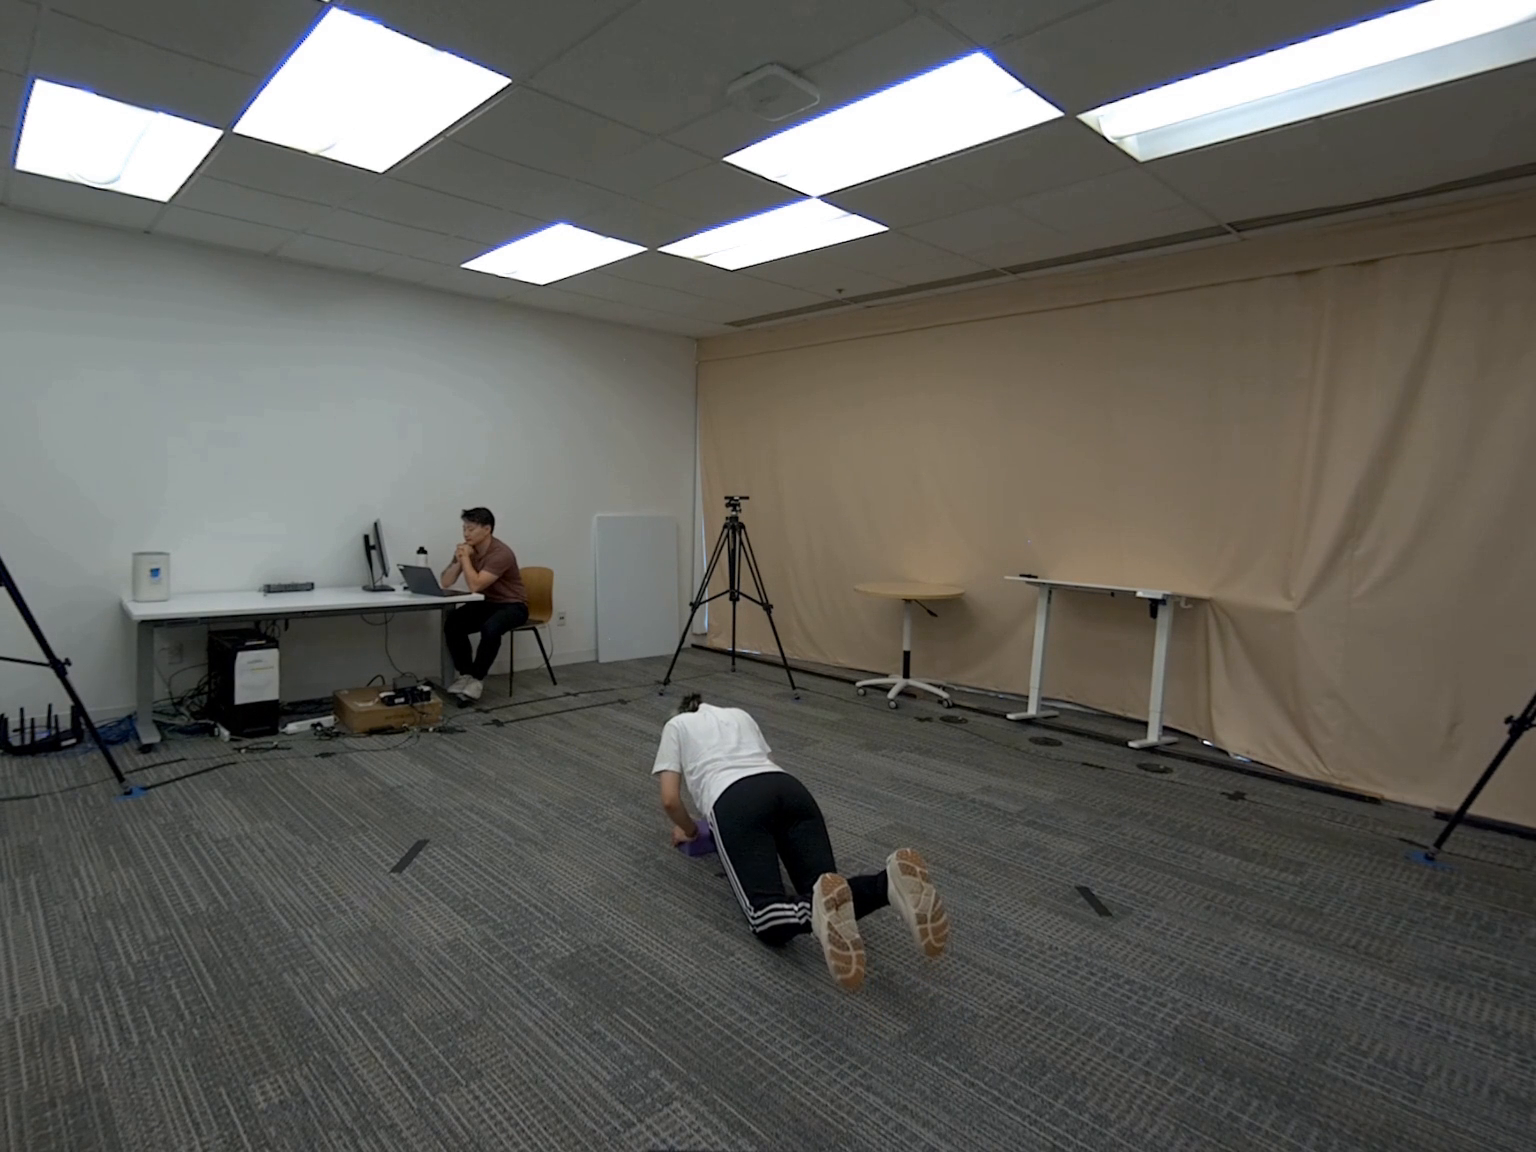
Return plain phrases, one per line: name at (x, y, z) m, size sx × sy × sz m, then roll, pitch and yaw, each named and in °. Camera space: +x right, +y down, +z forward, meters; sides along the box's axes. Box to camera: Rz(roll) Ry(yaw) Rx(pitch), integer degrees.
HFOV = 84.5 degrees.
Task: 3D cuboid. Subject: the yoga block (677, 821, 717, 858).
yoga block at (-0.251, 1.042, 3.366) m, size 0.225 × 0.076 × 0.152 m, roll -2°, pitch 3°, yaw -30°
